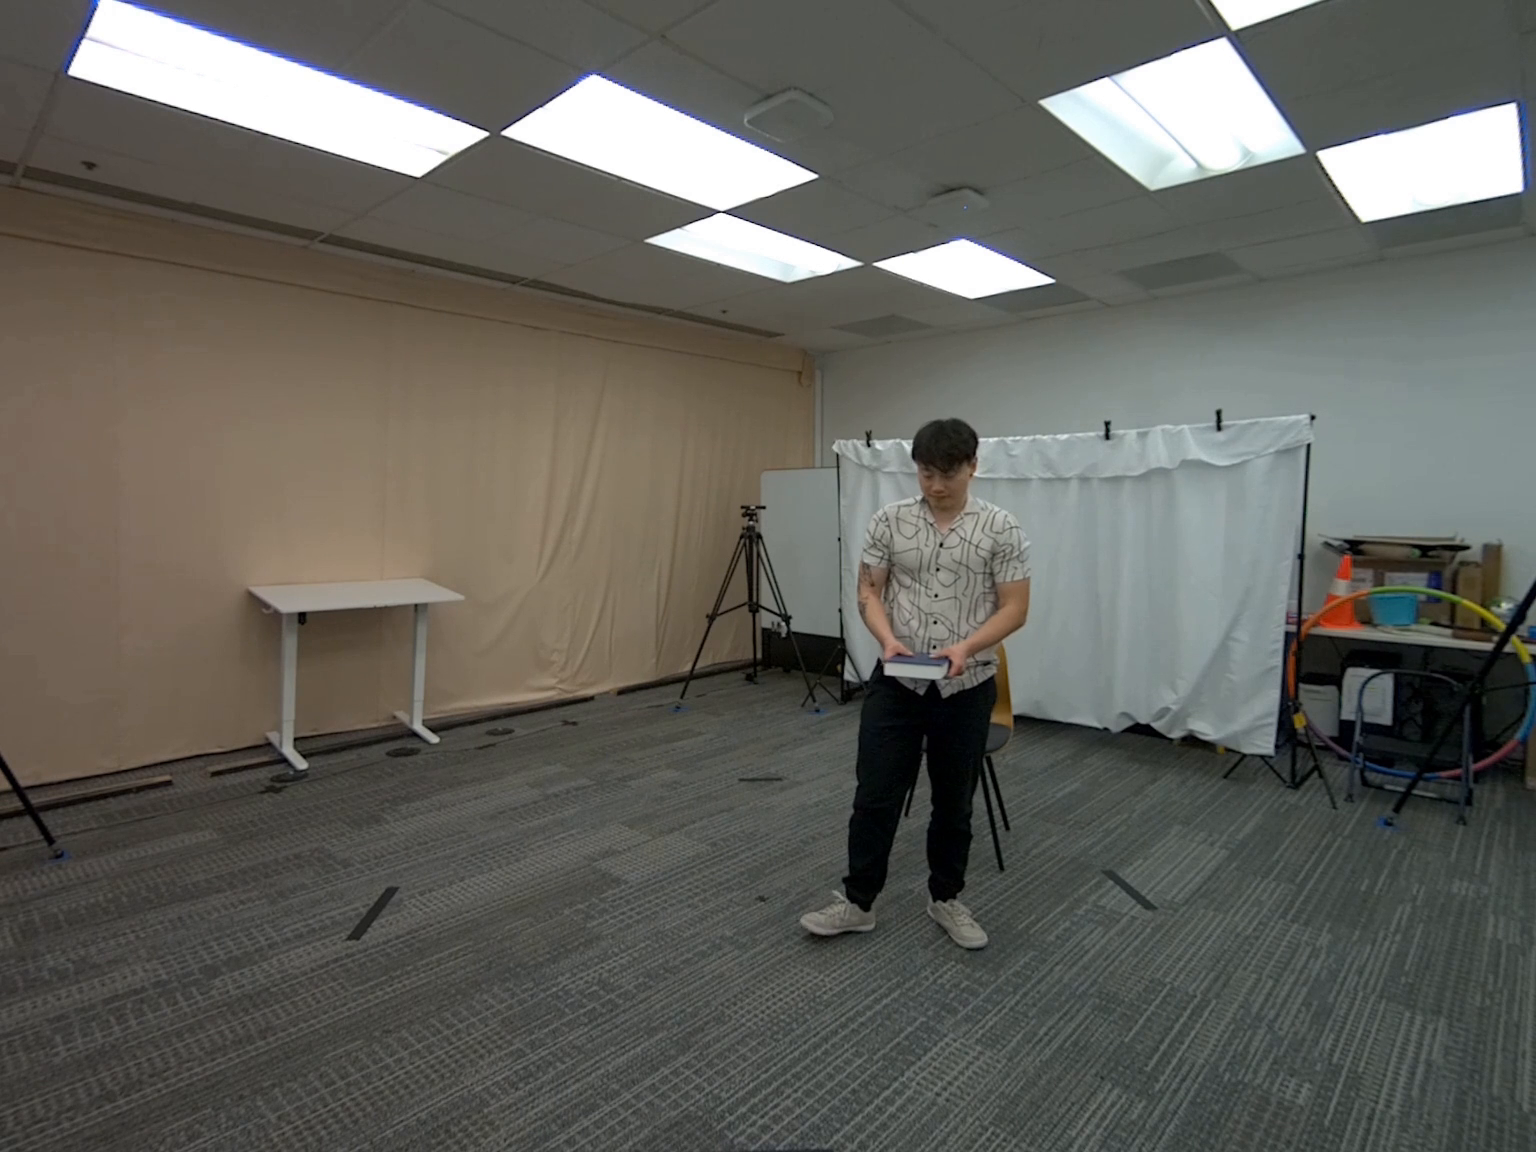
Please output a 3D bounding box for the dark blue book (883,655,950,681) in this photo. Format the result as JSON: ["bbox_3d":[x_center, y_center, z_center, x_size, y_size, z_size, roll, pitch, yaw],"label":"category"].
[{"bbox_3d":[0.443,0.263,2.487,0.167,0.045,0.240,2,3,18],"label":"dark blue book"}]
